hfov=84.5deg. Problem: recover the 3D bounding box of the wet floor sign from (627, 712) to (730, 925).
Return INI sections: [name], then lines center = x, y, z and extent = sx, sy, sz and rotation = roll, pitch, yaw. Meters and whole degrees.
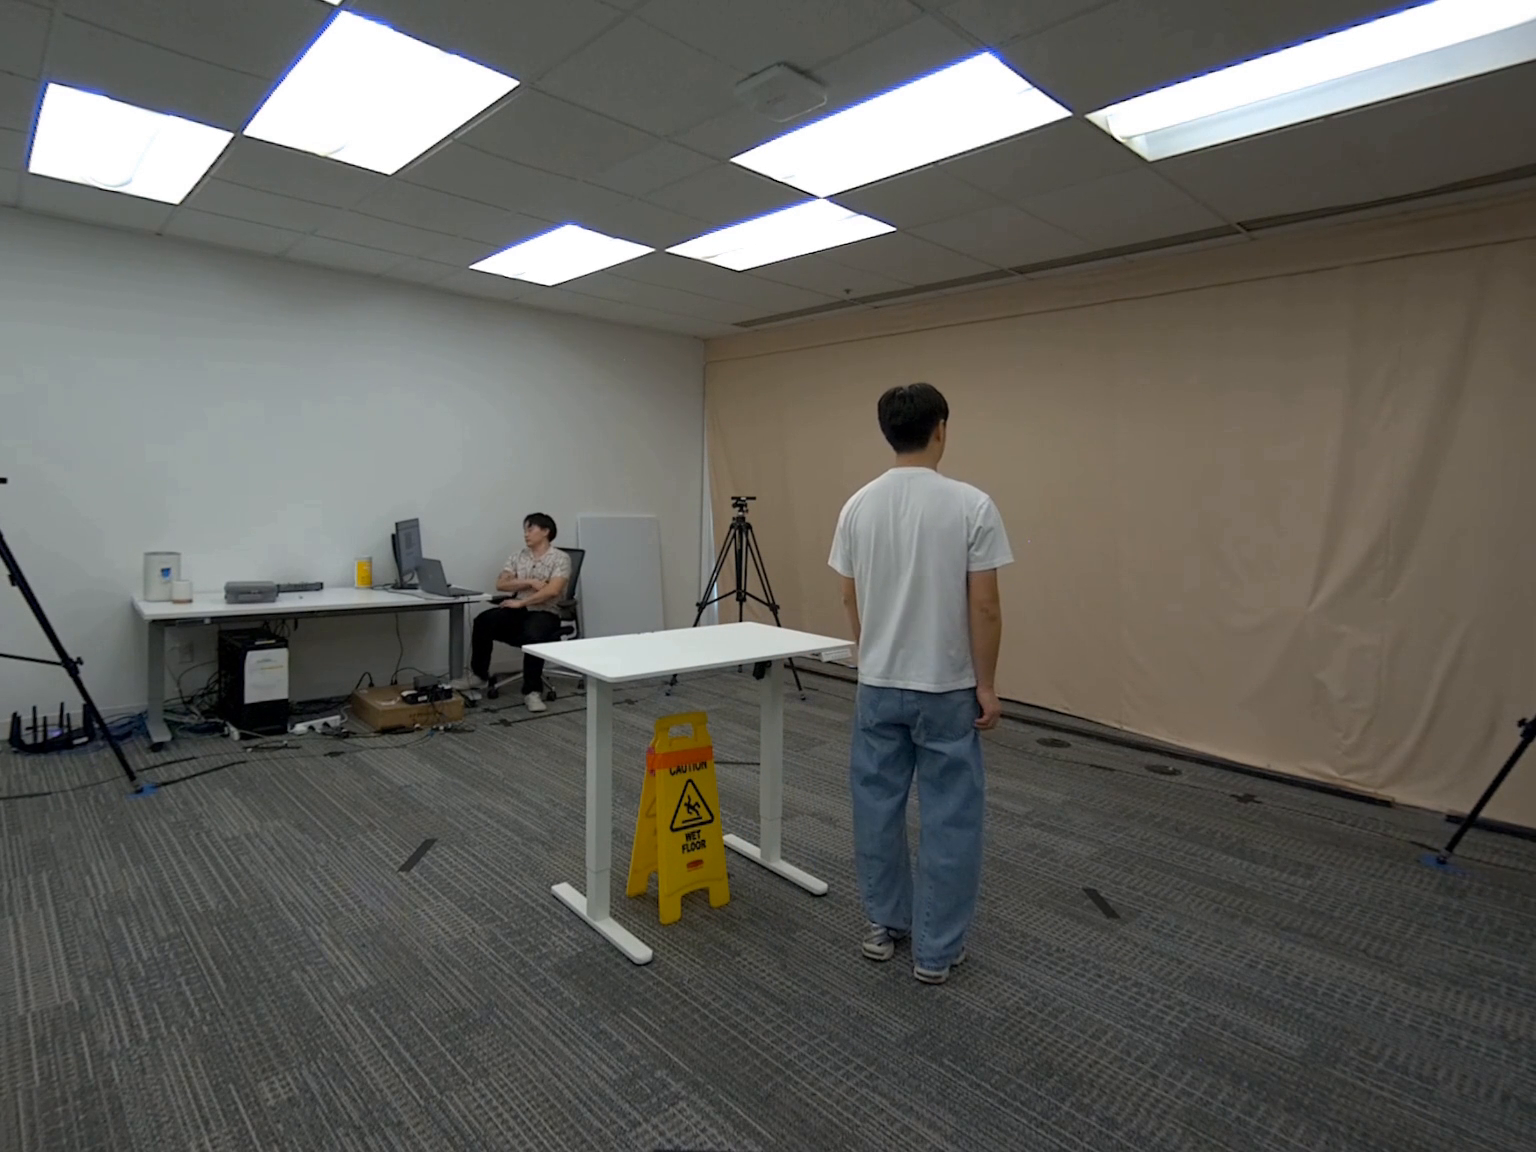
[wet floor sign]
center = -0.308, 0.796, 2.890
extent = 0.276, 0.645, 0.297
rotation = -1, 3, -37
